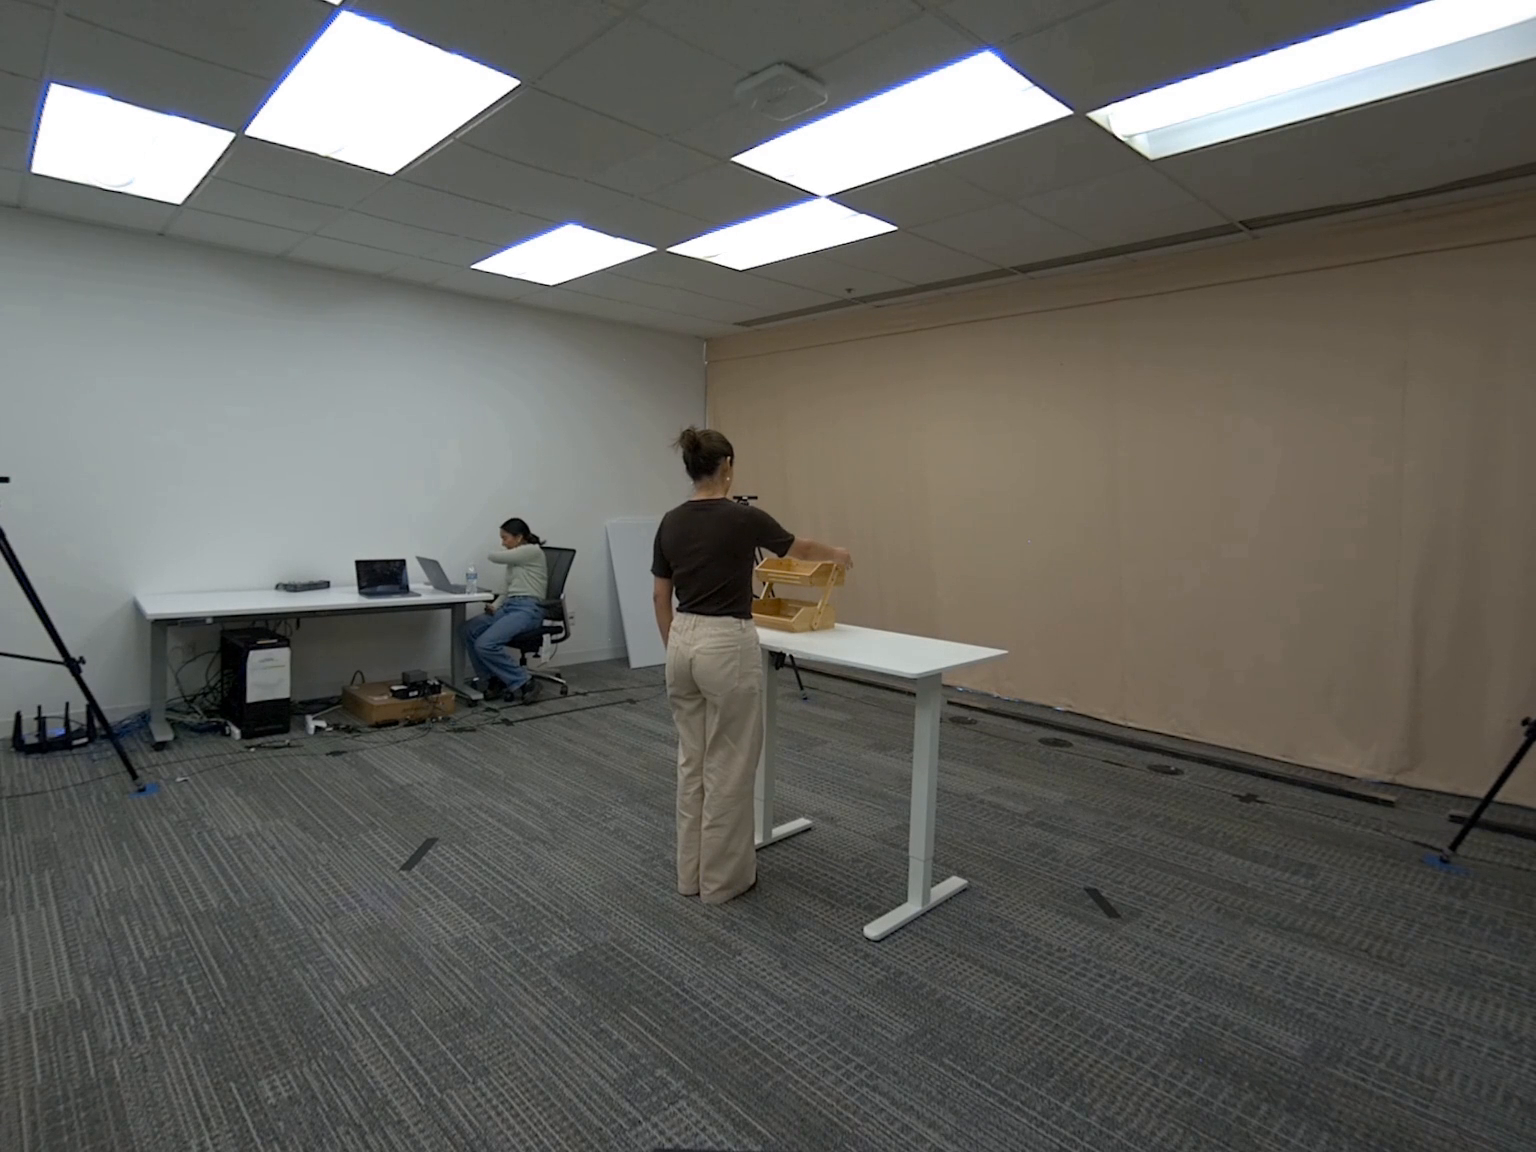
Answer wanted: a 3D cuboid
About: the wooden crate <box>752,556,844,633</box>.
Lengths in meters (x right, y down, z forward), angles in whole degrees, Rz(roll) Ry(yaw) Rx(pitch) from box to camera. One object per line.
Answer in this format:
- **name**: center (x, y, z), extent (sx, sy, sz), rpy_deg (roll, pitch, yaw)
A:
- **wooden crate**: center (0.087, 0.066, 3.380), extent (0.333, 0.273, 0.295), rpy_deg (7, 5, 44)
